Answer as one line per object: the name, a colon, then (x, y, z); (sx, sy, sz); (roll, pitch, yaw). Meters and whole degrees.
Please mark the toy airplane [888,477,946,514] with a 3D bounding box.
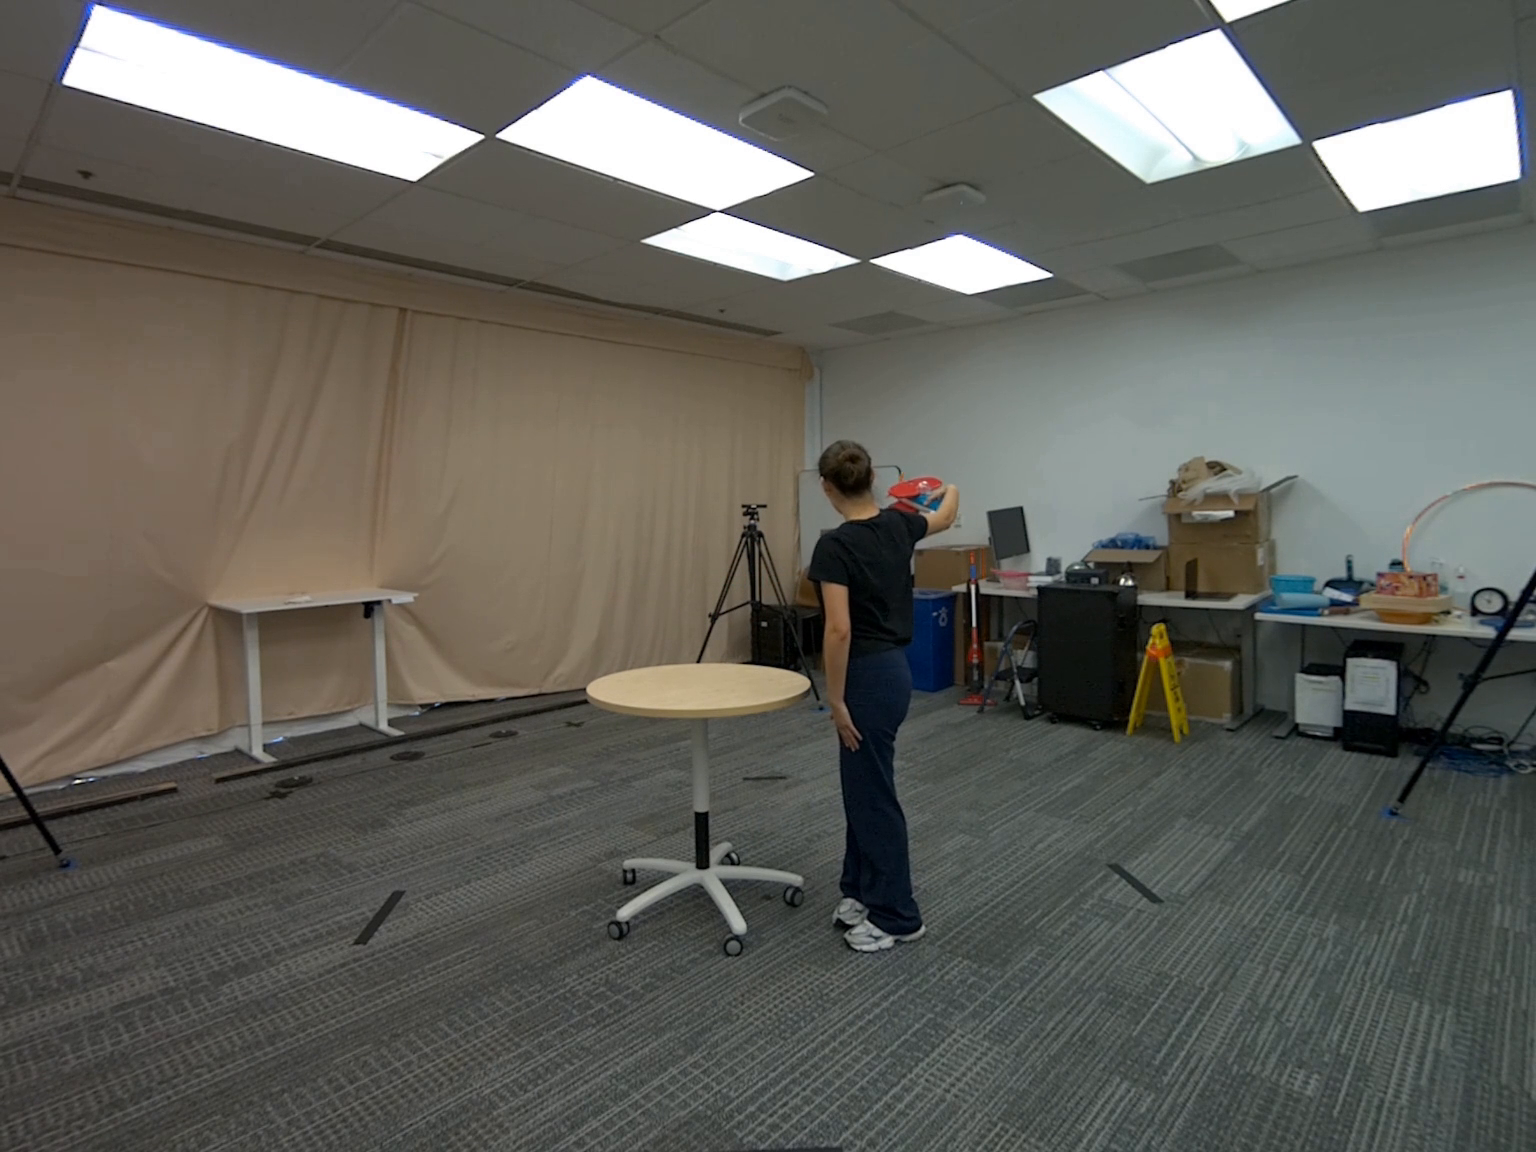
toy airplane: (0.610, -0.281, 3.221); (0.266, 0.154, 0.248); (3, 22, 27)
